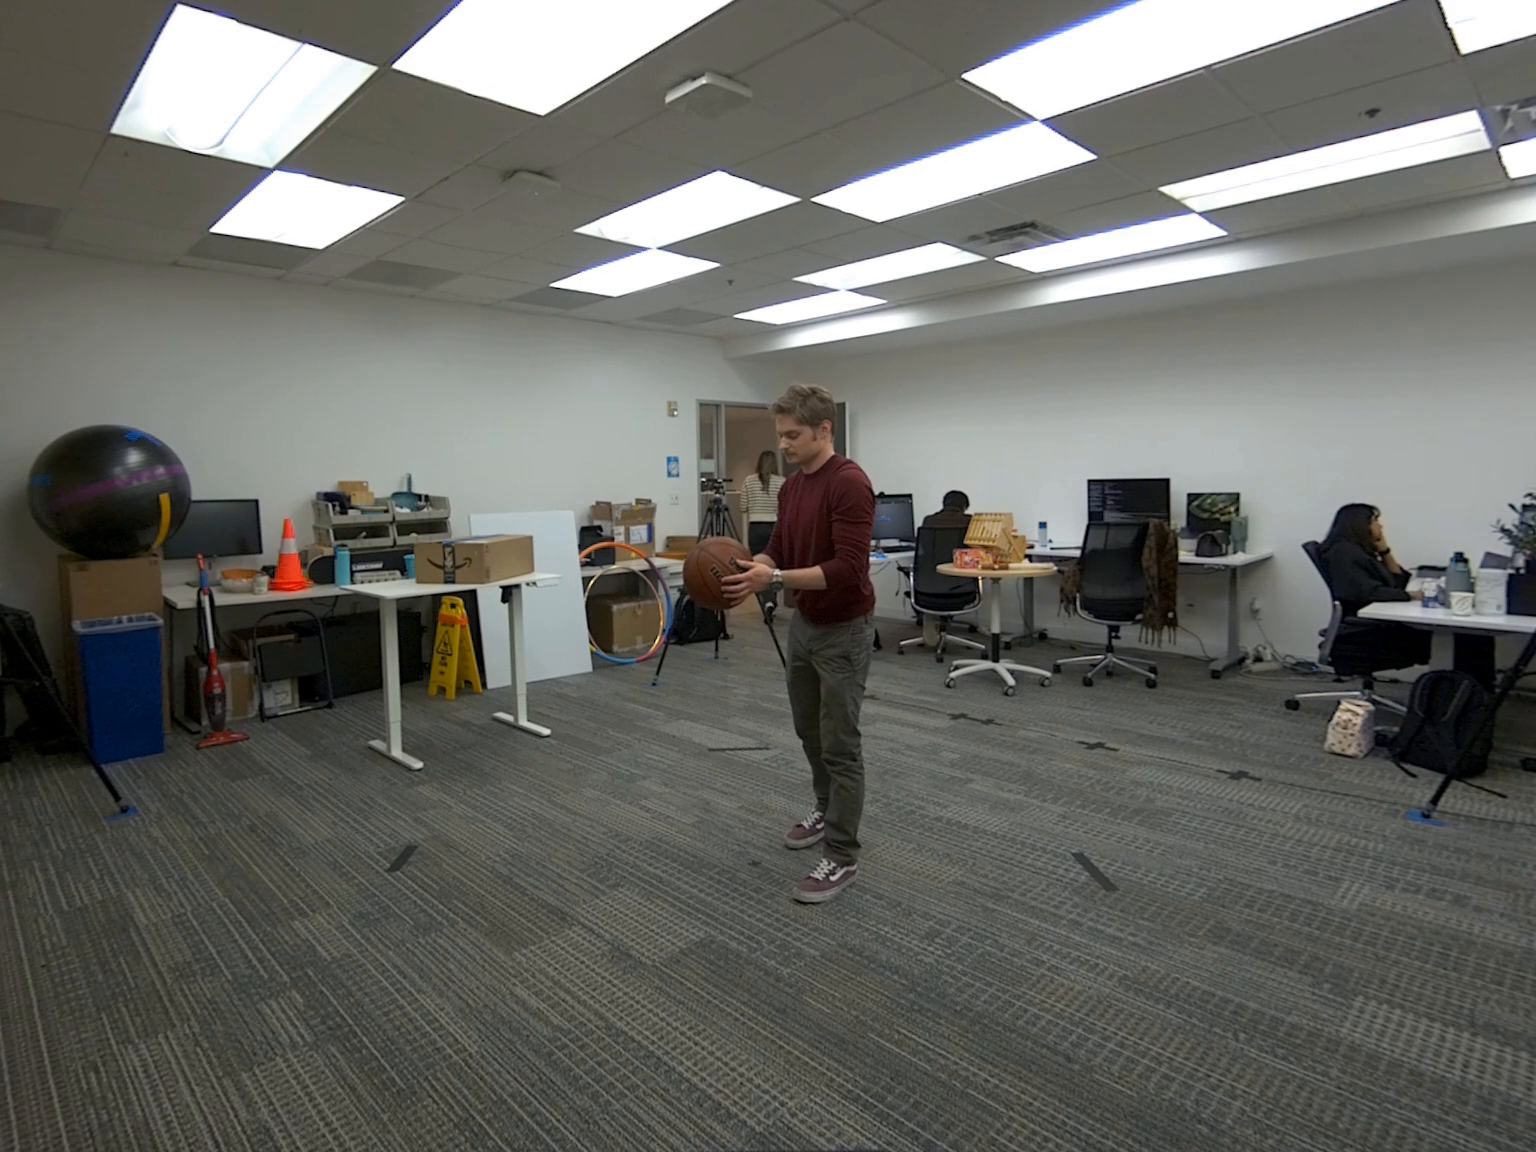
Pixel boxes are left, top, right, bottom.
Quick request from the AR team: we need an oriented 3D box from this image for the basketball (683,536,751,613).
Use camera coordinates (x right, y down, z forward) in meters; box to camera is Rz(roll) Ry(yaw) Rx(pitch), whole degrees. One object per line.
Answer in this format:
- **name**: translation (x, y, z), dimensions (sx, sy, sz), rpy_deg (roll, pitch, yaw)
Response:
- **basketball**: translation (-0.153, -0.009, 2.760), dimensions (0.236, 0.235, 0.237), rpy_deg (-1, 5, -2)
